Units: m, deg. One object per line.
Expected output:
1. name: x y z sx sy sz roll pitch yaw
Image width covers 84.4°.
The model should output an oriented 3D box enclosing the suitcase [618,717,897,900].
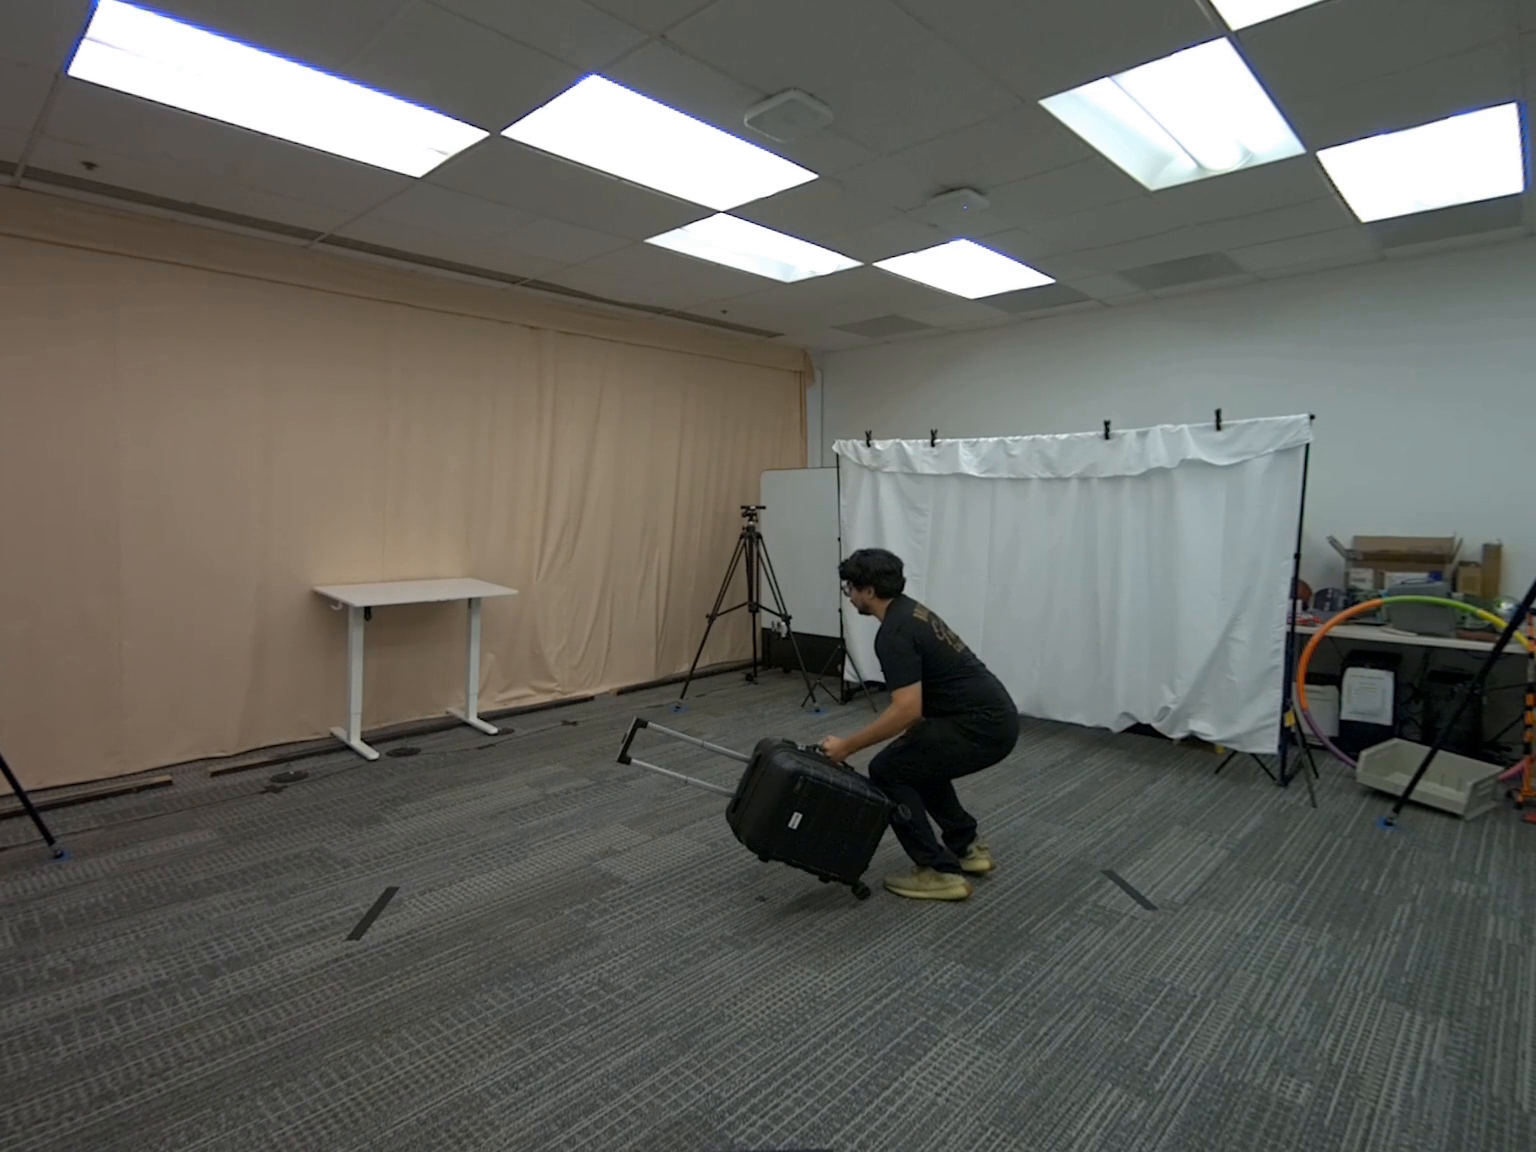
1. suitcase: -0.012 0.726 2.815 0.951 0.384 0.264 27 -2 -25
